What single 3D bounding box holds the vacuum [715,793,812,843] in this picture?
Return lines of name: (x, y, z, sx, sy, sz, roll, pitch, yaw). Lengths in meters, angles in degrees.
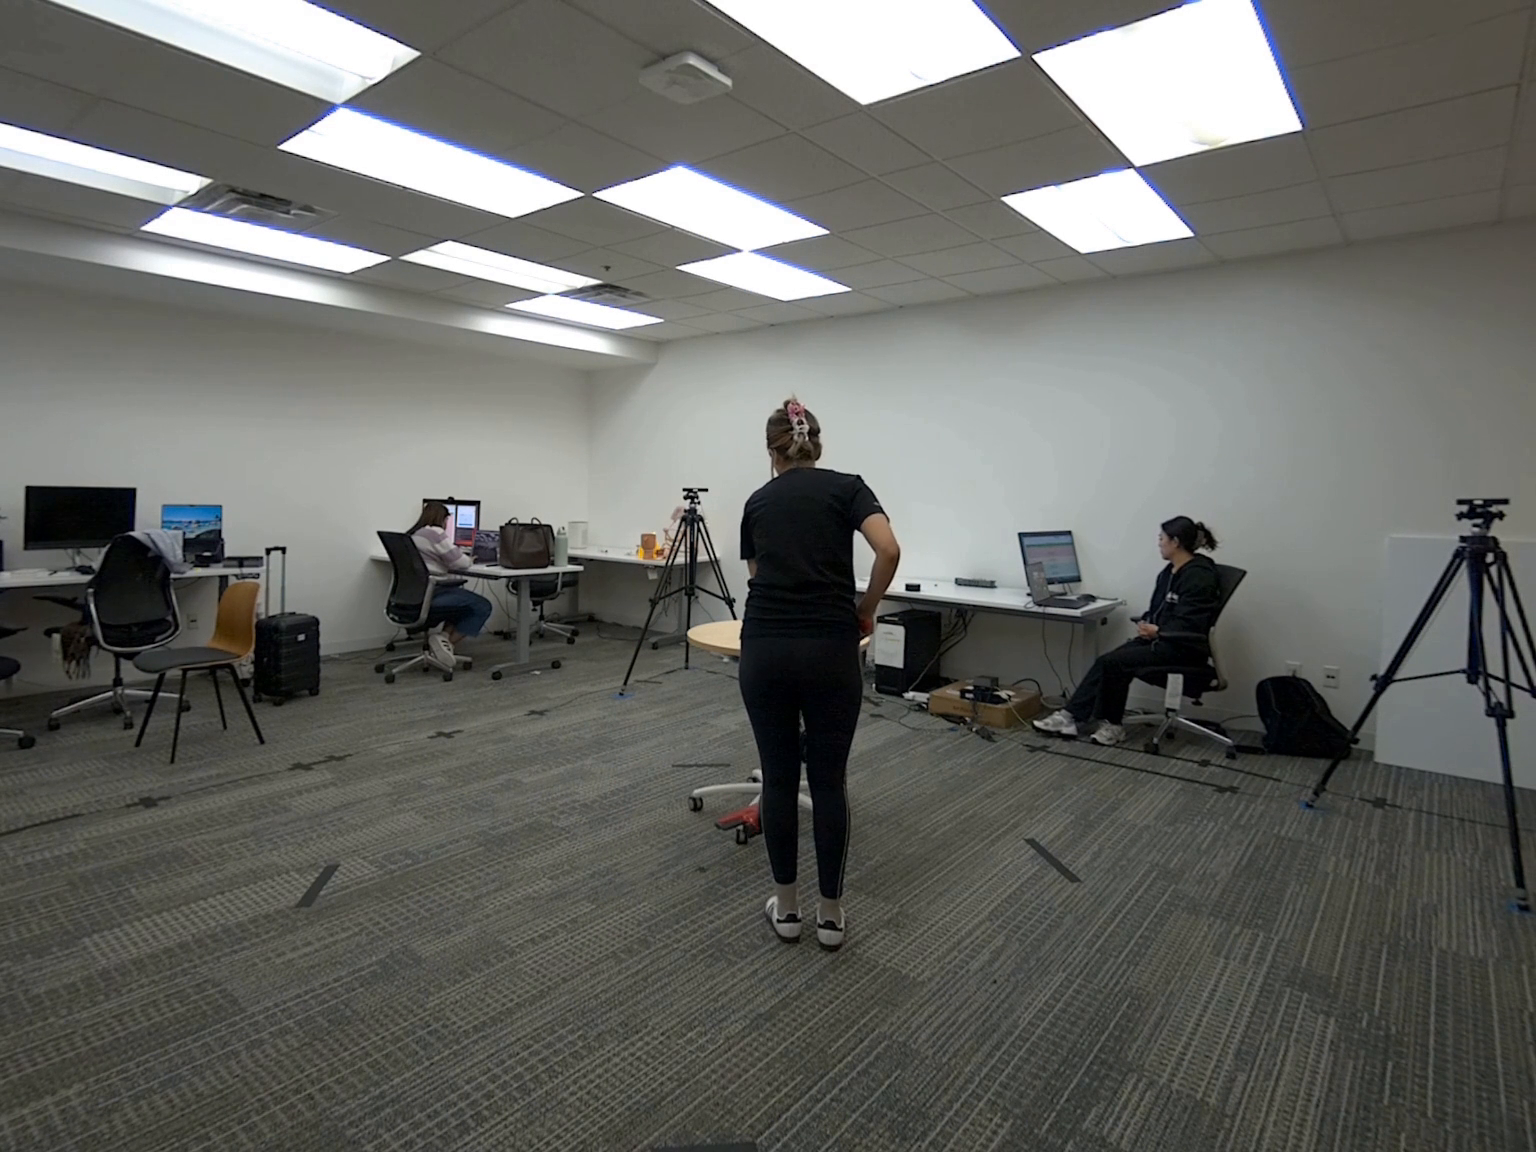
vacuum: (0.101, 0.534, 2.891, 0.246, 1.036, 0.149, -10, 47, -41)
